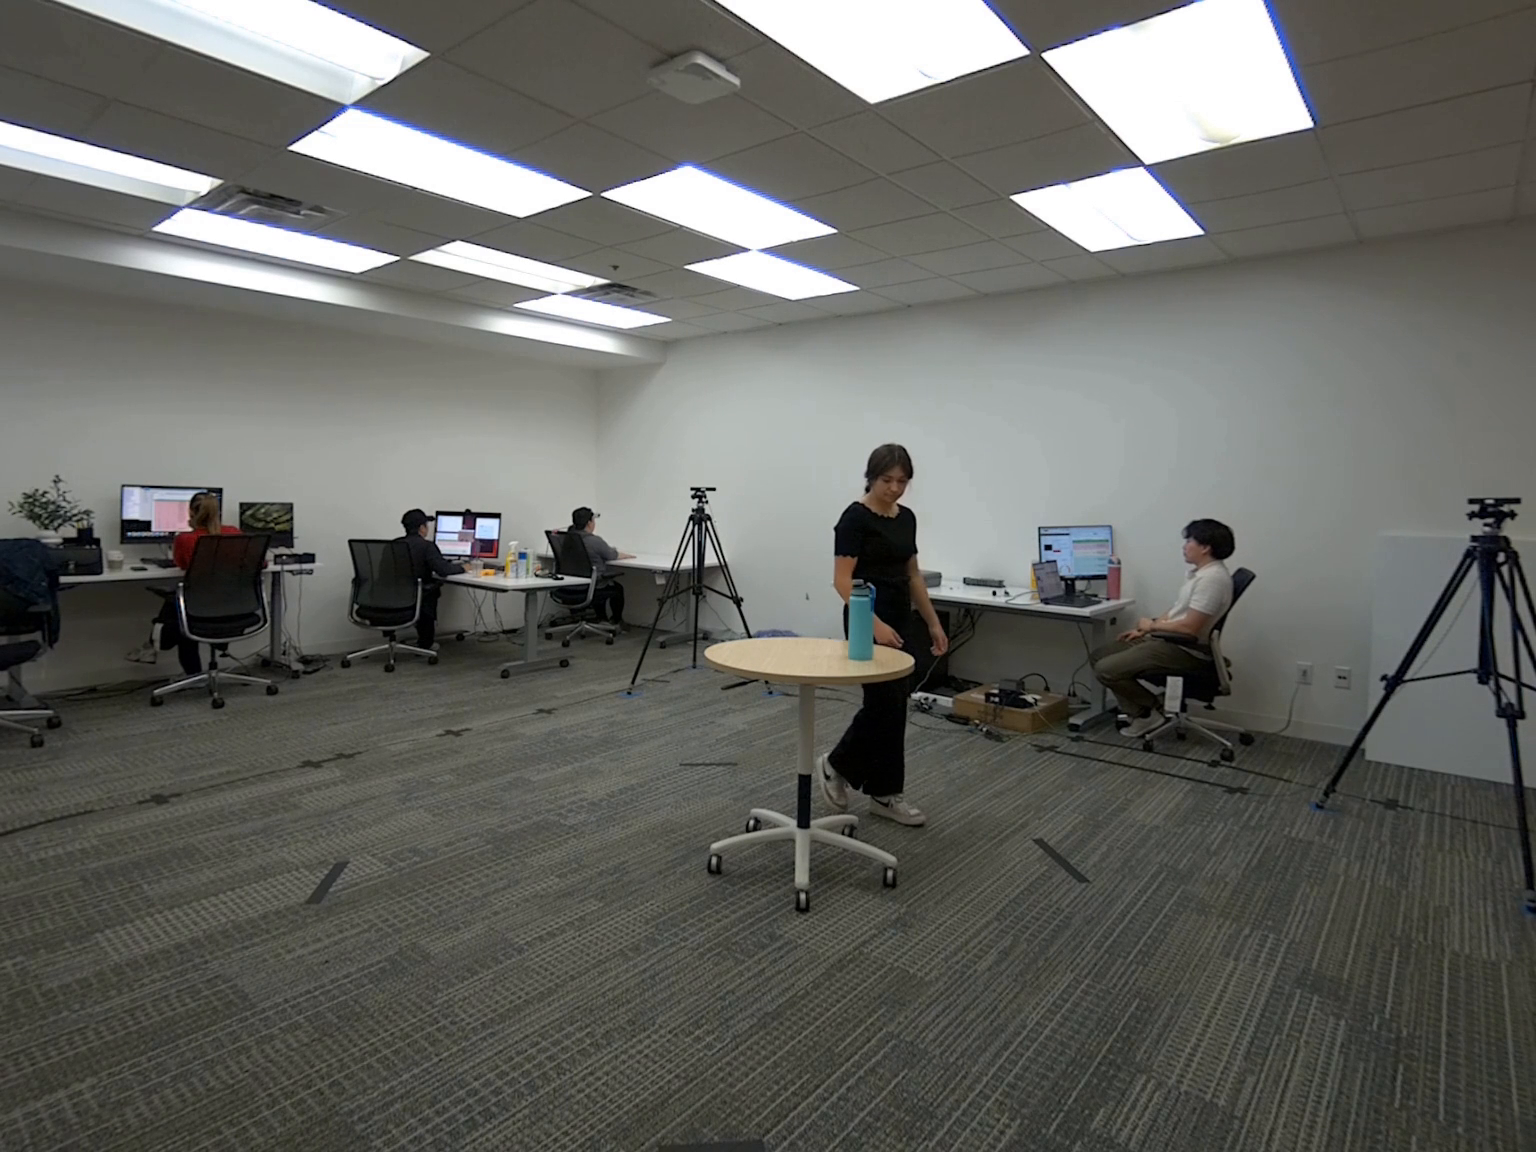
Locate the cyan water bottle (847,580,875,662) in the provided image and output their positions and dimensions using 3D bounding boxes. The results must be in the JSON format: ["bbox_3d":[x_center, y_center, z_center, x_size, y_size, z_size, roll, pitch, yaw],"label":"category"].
[{"bbox_3d":[0.329,0.155,3.070,0.092,0.283,0.093,1,3,-2],"label":"cyan water bottle"}]
